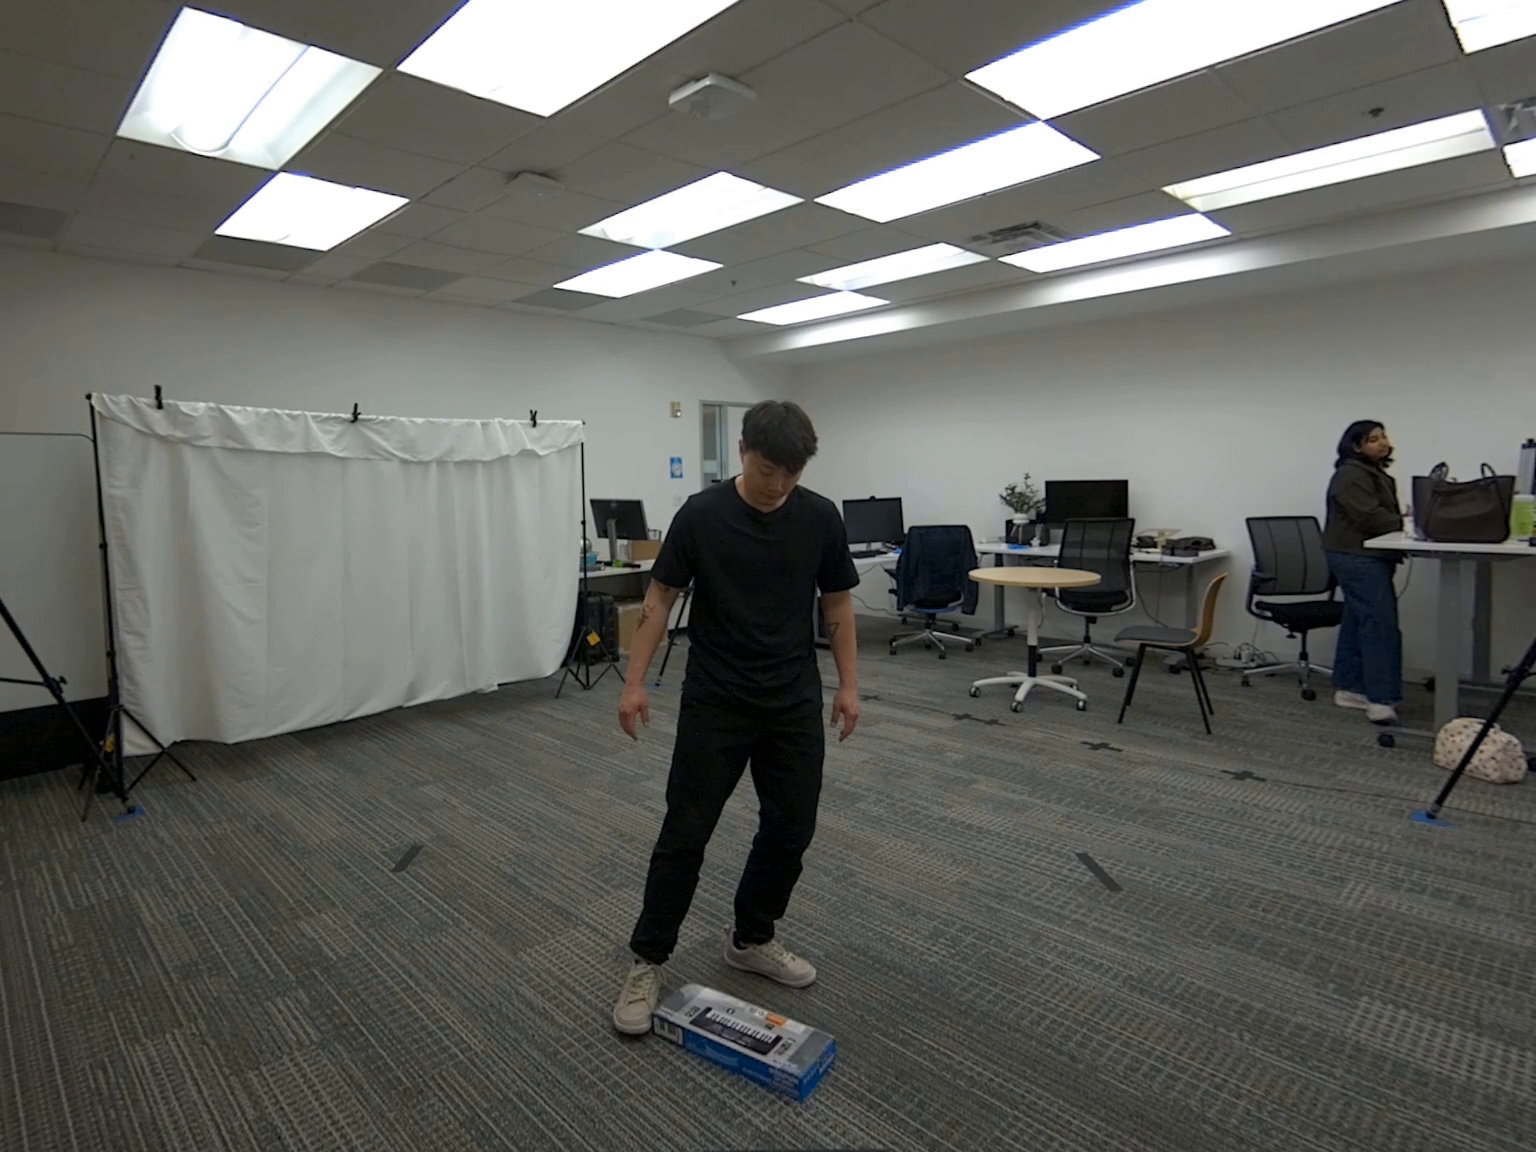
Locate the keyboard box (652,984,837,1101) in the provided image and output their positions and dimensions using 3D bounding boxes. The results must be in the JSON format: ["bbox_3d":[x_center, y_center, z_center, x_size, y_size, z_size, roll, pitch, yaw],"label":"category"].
[{"bbox_3d":[-0.061,1.142,2.108,0.449,0.059,0.172,3,7,34],"label":"keyboard box"}]
